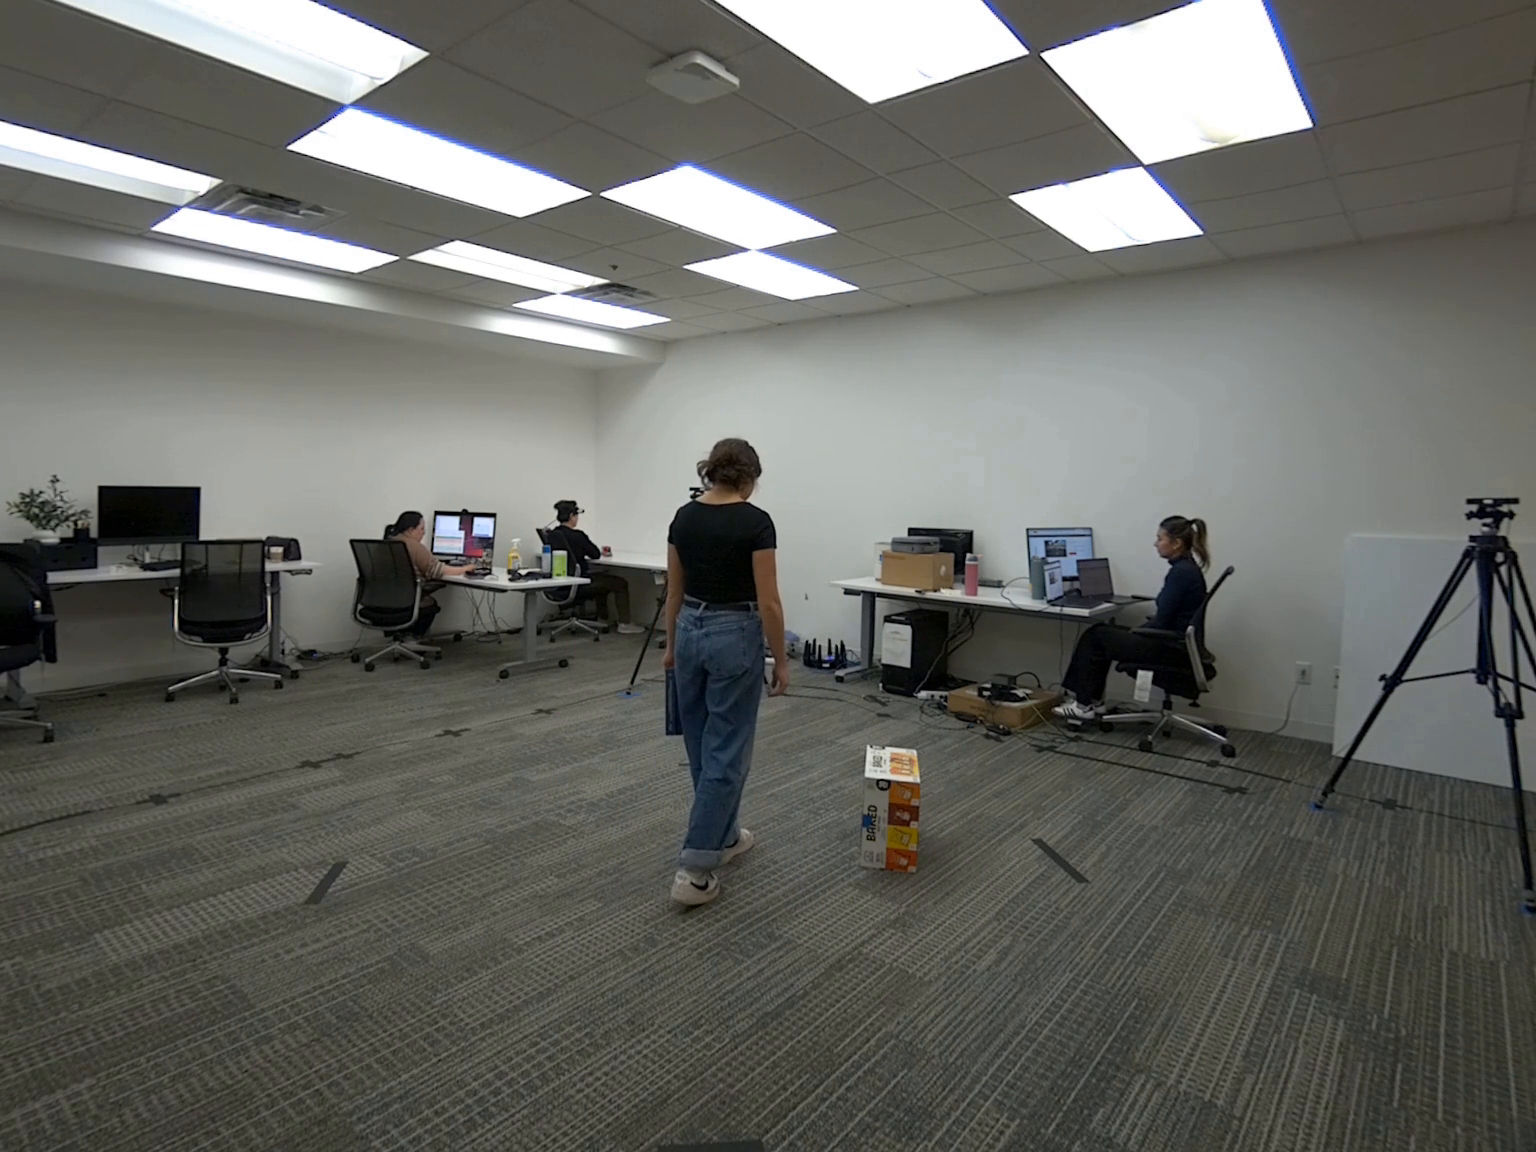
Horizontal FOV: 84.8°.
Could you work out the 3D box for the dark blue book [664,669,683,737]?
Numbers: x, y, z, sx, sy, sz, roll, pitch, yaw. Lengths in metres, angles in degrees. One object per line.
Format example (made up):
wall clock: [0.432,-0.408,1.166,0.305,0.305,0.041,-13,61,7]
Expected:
dark blue book: [-0.340,0.470,3.214,0.046,0.247,0.159,-4,-8,14]
